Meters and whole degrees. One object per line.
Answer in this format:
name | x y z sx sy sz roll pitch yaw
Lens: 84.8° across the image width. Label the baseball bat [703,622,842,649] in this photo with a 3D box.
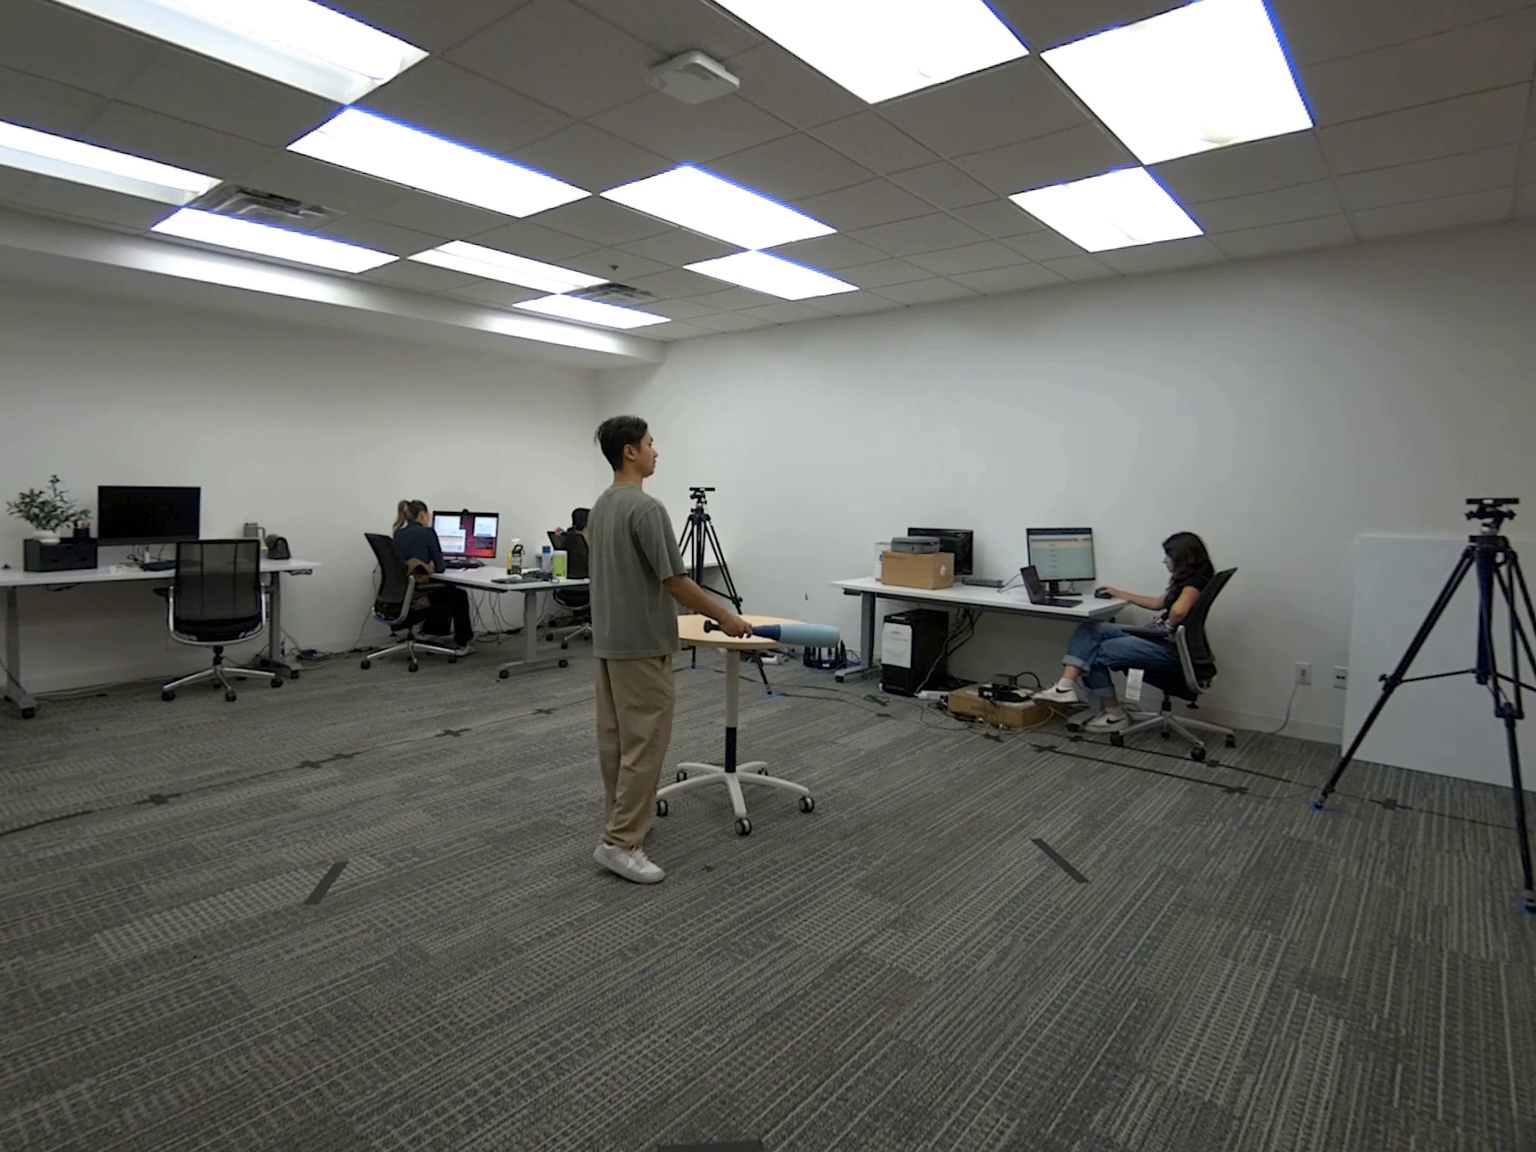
baseball bat | 0.009 0.210 3.263 0.532 0.089 0.091 5 2 -18
